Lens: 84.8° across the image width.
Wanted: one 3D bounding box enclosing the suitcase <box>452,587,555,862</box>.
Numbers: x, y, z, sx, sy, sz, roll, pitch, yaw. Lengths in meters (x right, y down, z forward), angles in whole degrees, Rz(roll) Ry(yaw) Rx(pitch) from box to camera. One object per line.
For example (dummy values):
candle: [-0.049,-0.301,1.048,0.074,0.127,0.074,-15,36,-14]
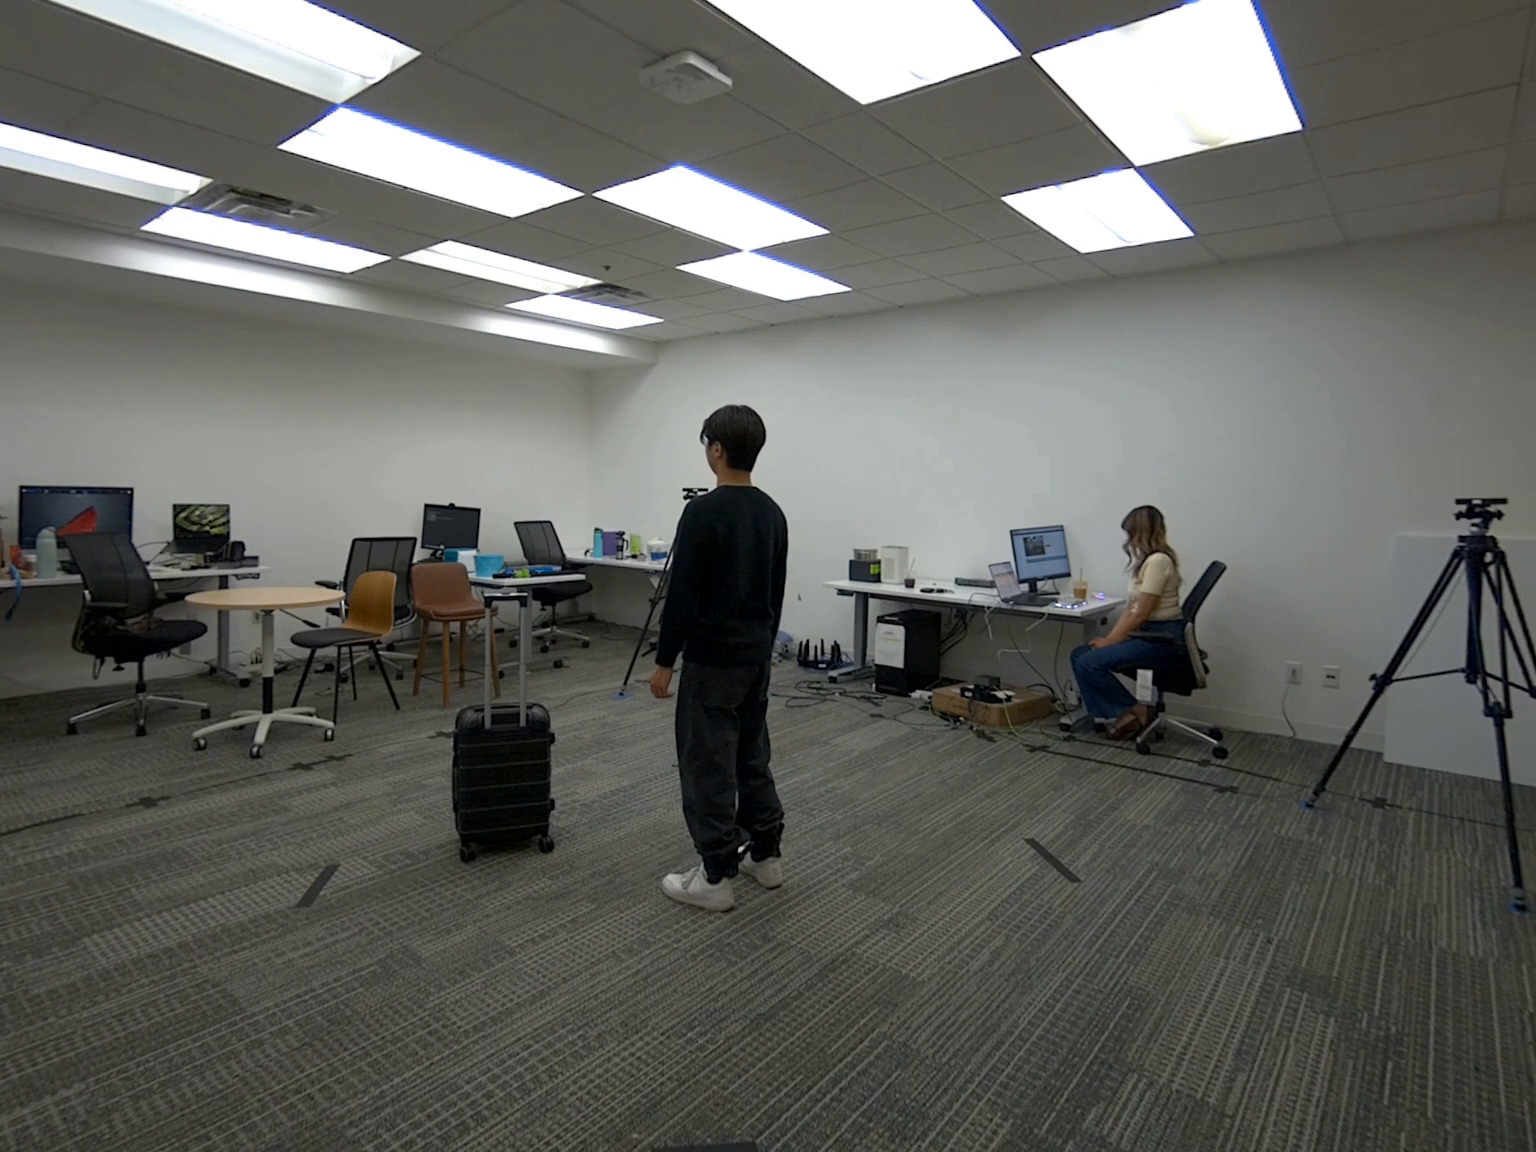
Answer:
suitcase: [-1.049,0.566,3.299,0.377,0.978,0.262,-1,1,-19]
